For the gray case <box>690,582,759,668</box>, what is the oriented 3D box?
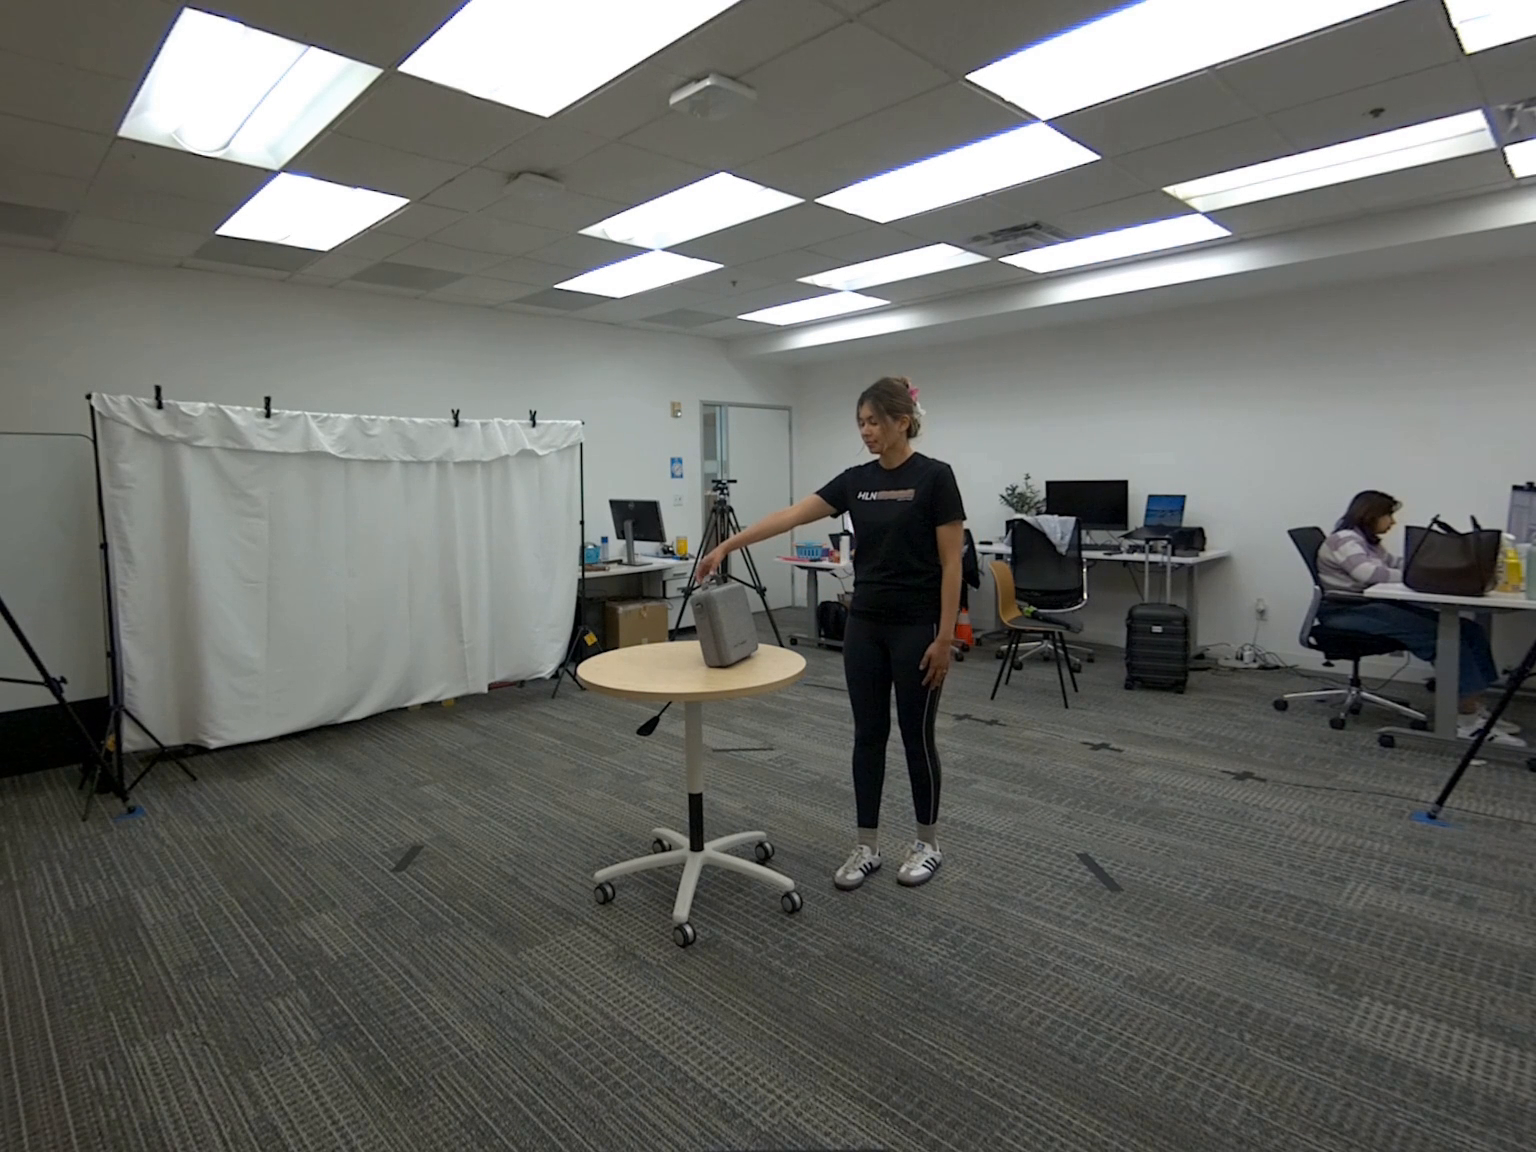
[{"bbox_3d":[-0.143,0.155,2.889,0.106,0.261,0.252,-13,-1,24],"label":"gray case"}]
